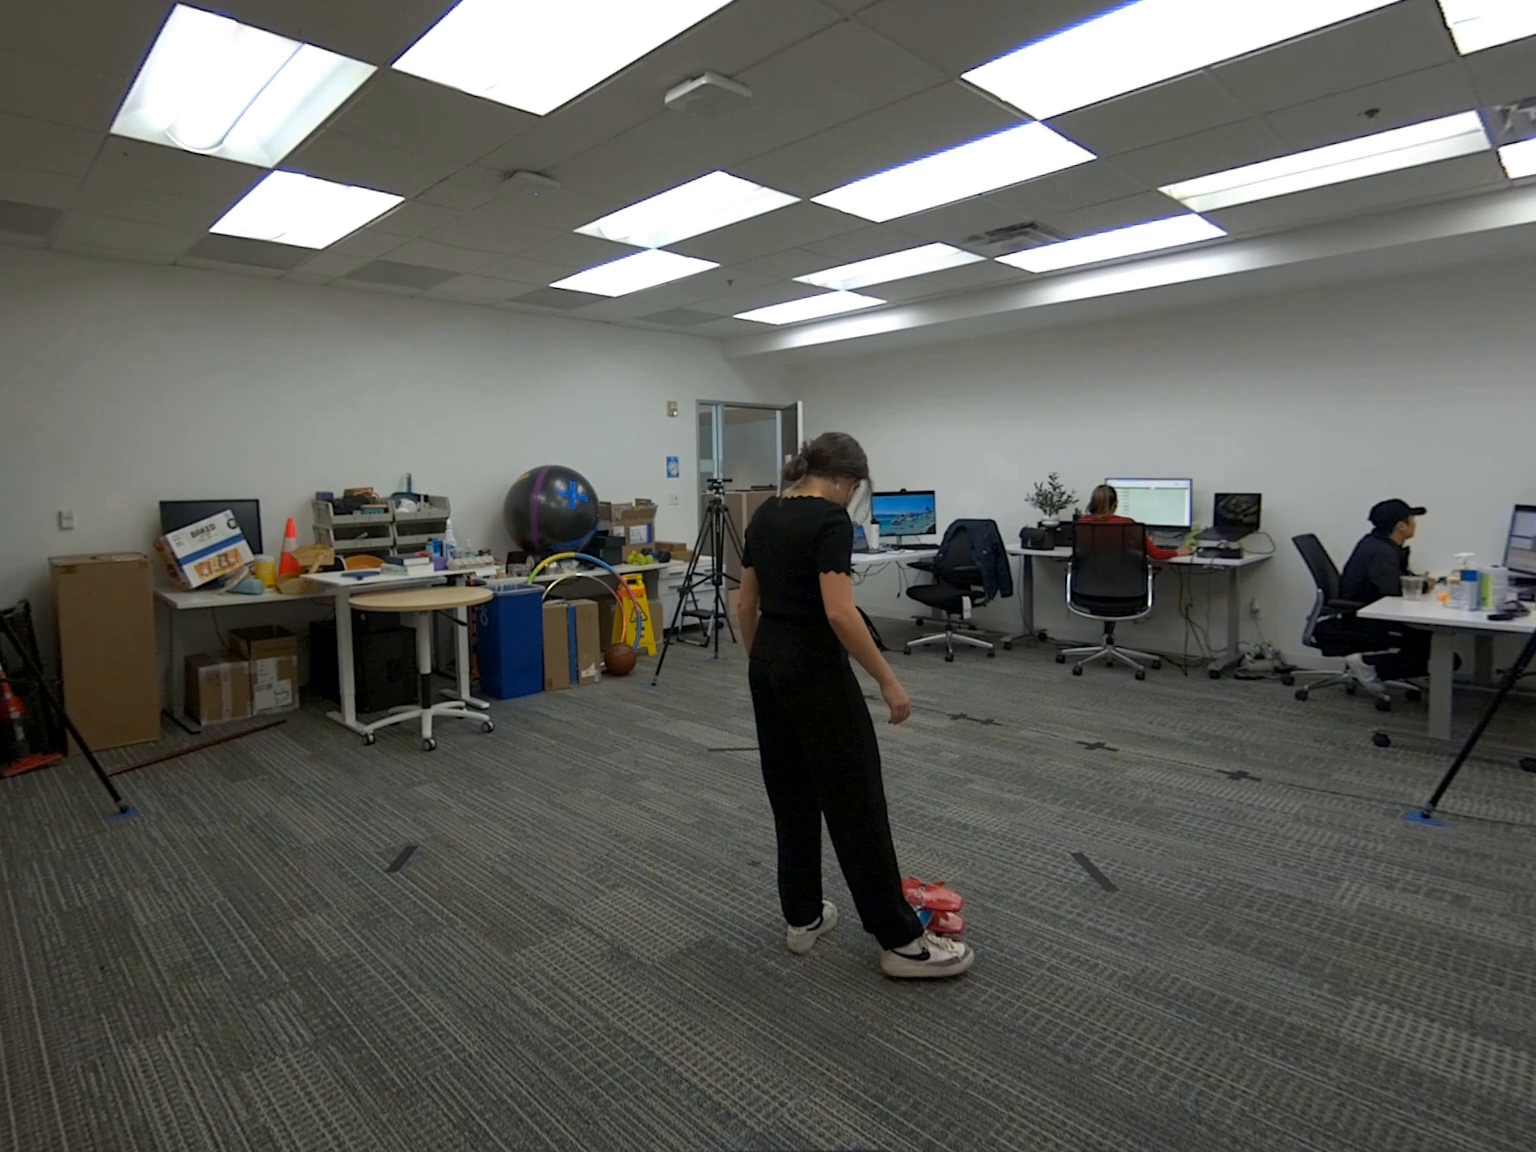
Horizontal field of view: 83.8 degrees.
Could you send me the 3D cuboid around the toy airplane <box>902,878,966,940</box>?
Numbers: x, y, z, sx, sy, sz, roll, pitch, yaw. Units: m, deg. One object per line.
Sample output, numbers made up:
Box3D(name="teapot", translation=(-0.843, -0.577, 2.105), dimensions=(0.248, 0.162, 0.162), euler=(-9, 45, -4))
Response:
Box3D(name="toy airplane", translation=(0.468, 1.025, 2.545), dimensions=(0.251, 0.156, 0.260), euler=(-1, 4, 1))
